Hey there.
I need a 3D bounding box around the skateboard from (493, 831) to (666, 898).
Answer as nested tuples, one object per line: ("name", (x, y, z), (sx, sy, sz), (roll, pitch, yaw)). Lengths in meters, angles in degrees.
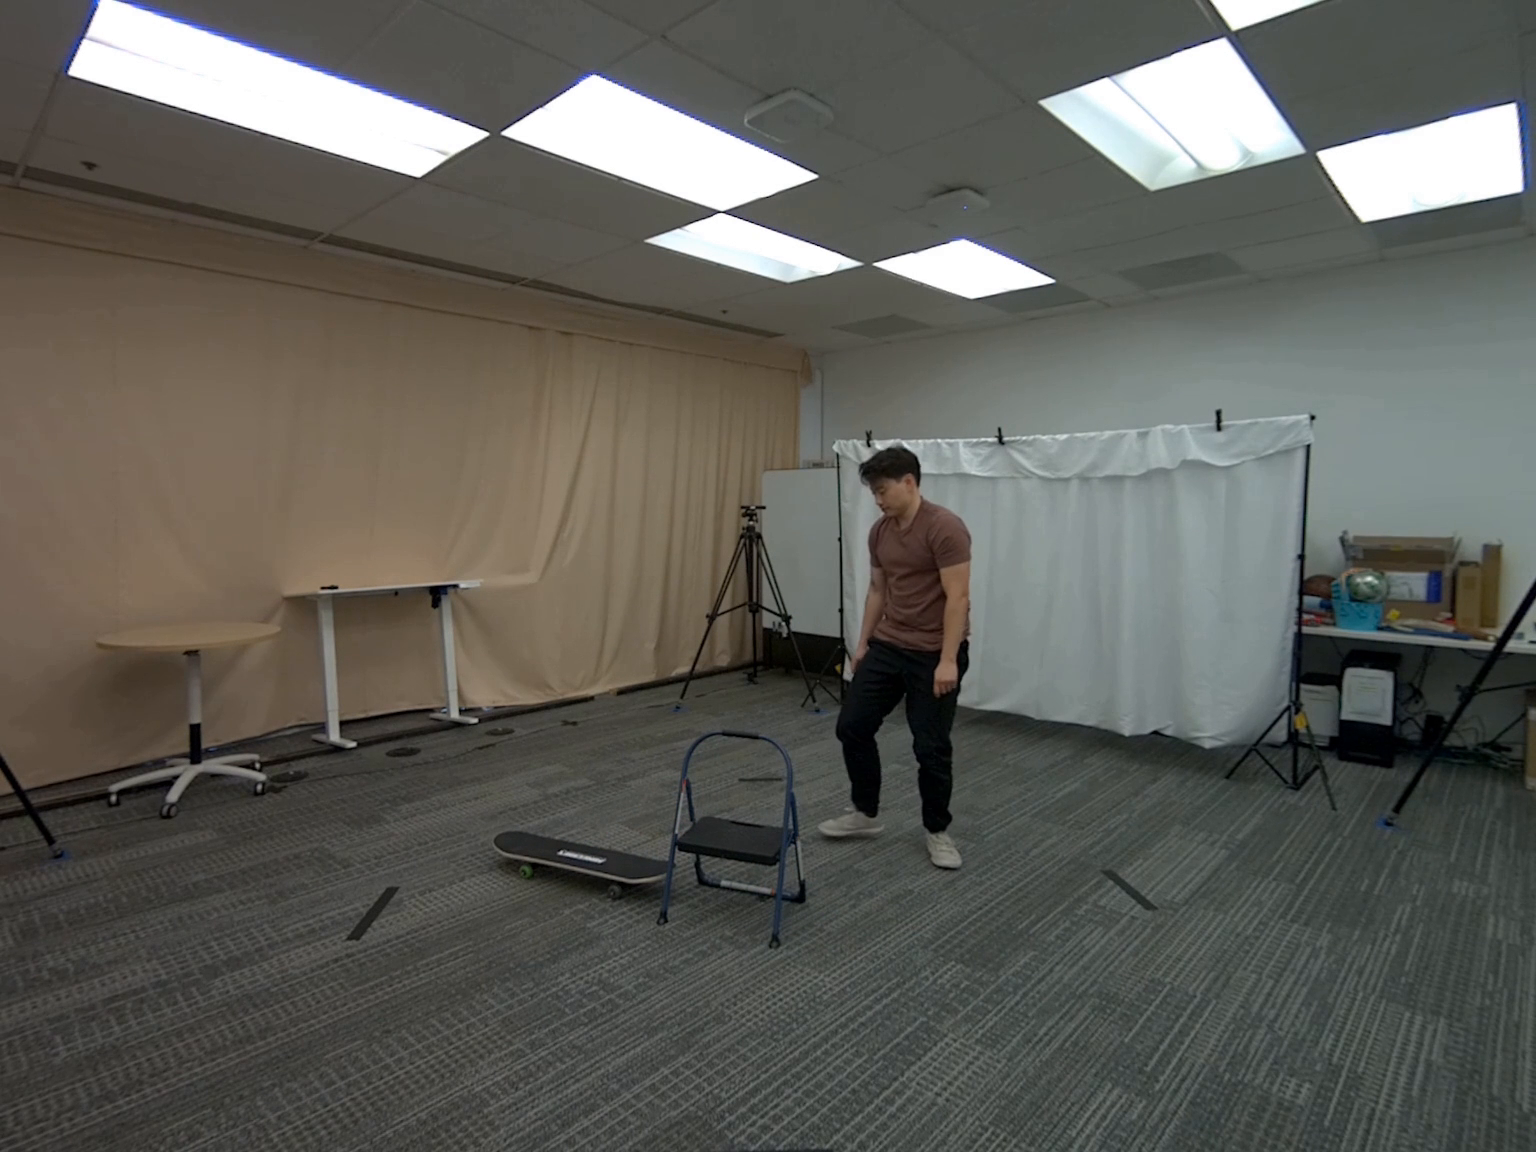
("skateboard", (-0.682, 1.072, 3.144), (0.805, 0.110, 0.189), (1, 4, 25))
